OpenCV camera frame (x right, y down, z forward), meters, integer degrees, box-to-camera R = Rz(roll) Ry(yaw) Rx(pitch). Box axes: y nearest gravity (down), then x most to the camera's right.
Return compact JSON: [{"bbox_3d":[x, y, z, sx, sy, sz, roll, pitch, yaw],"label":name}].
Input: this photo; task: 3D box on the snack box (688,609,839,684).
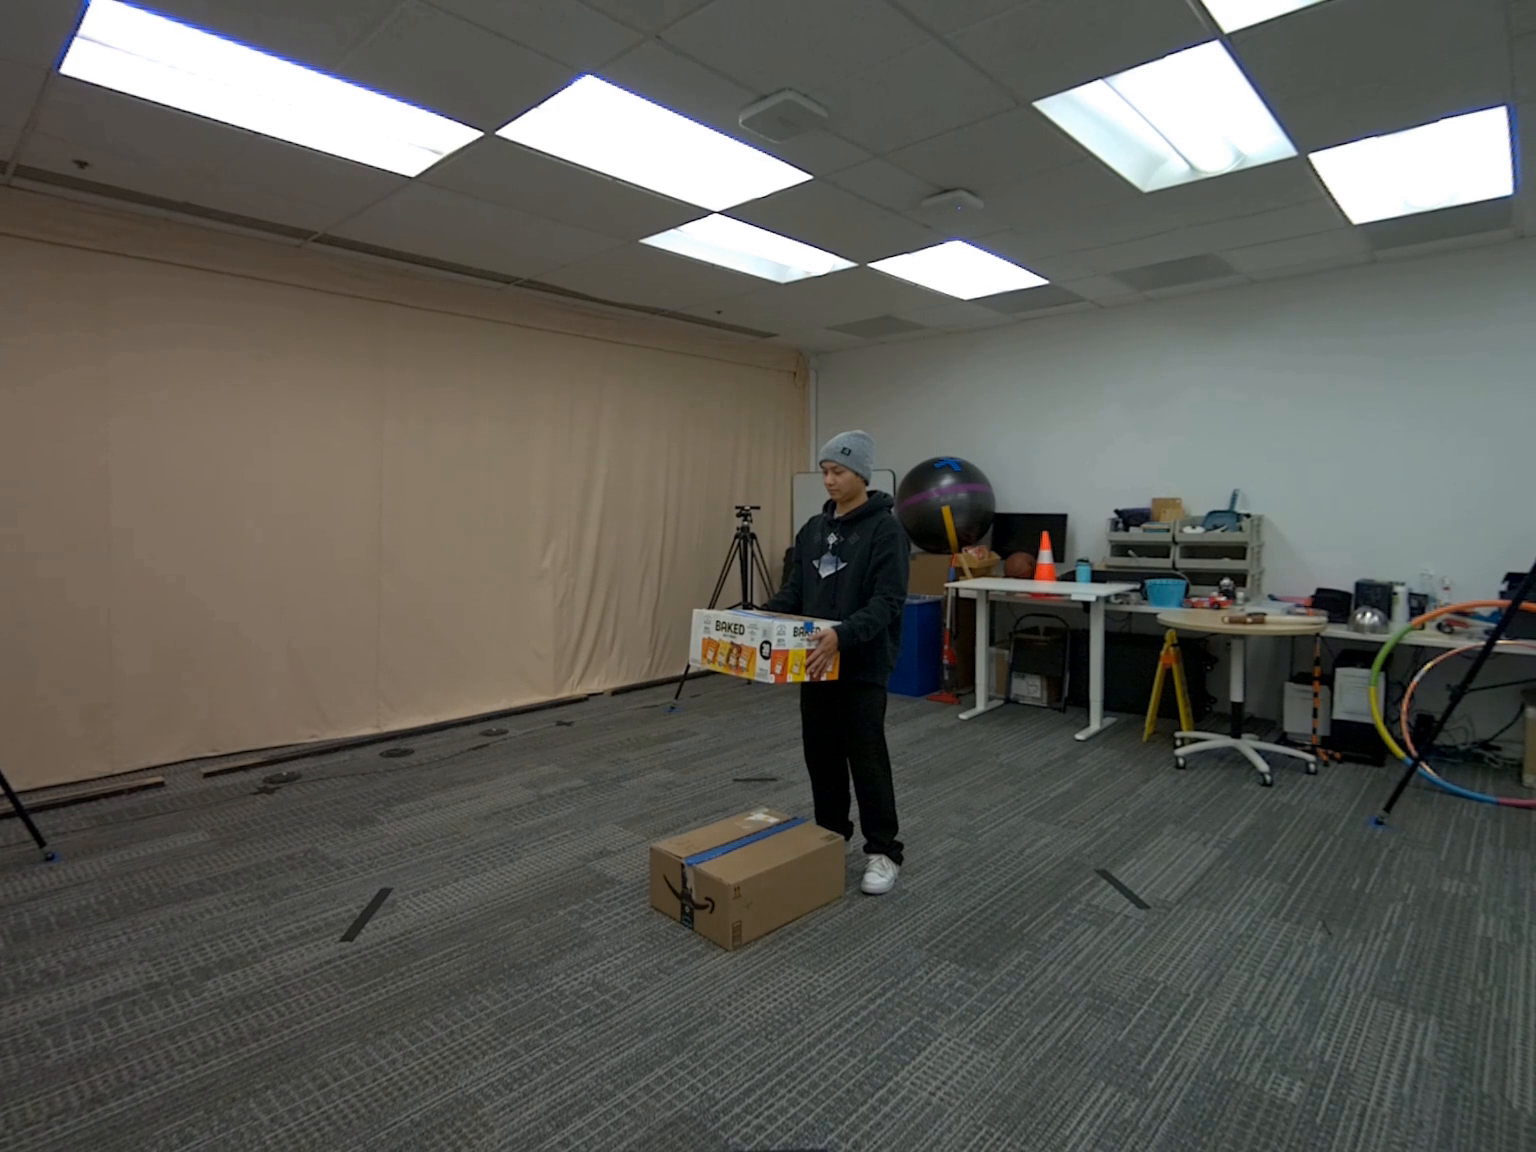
[{"bbox_3d":[-0.010,0.241,2.964,0.329,0.206,0.419,5,0,-42],"label":"snack box"}]
